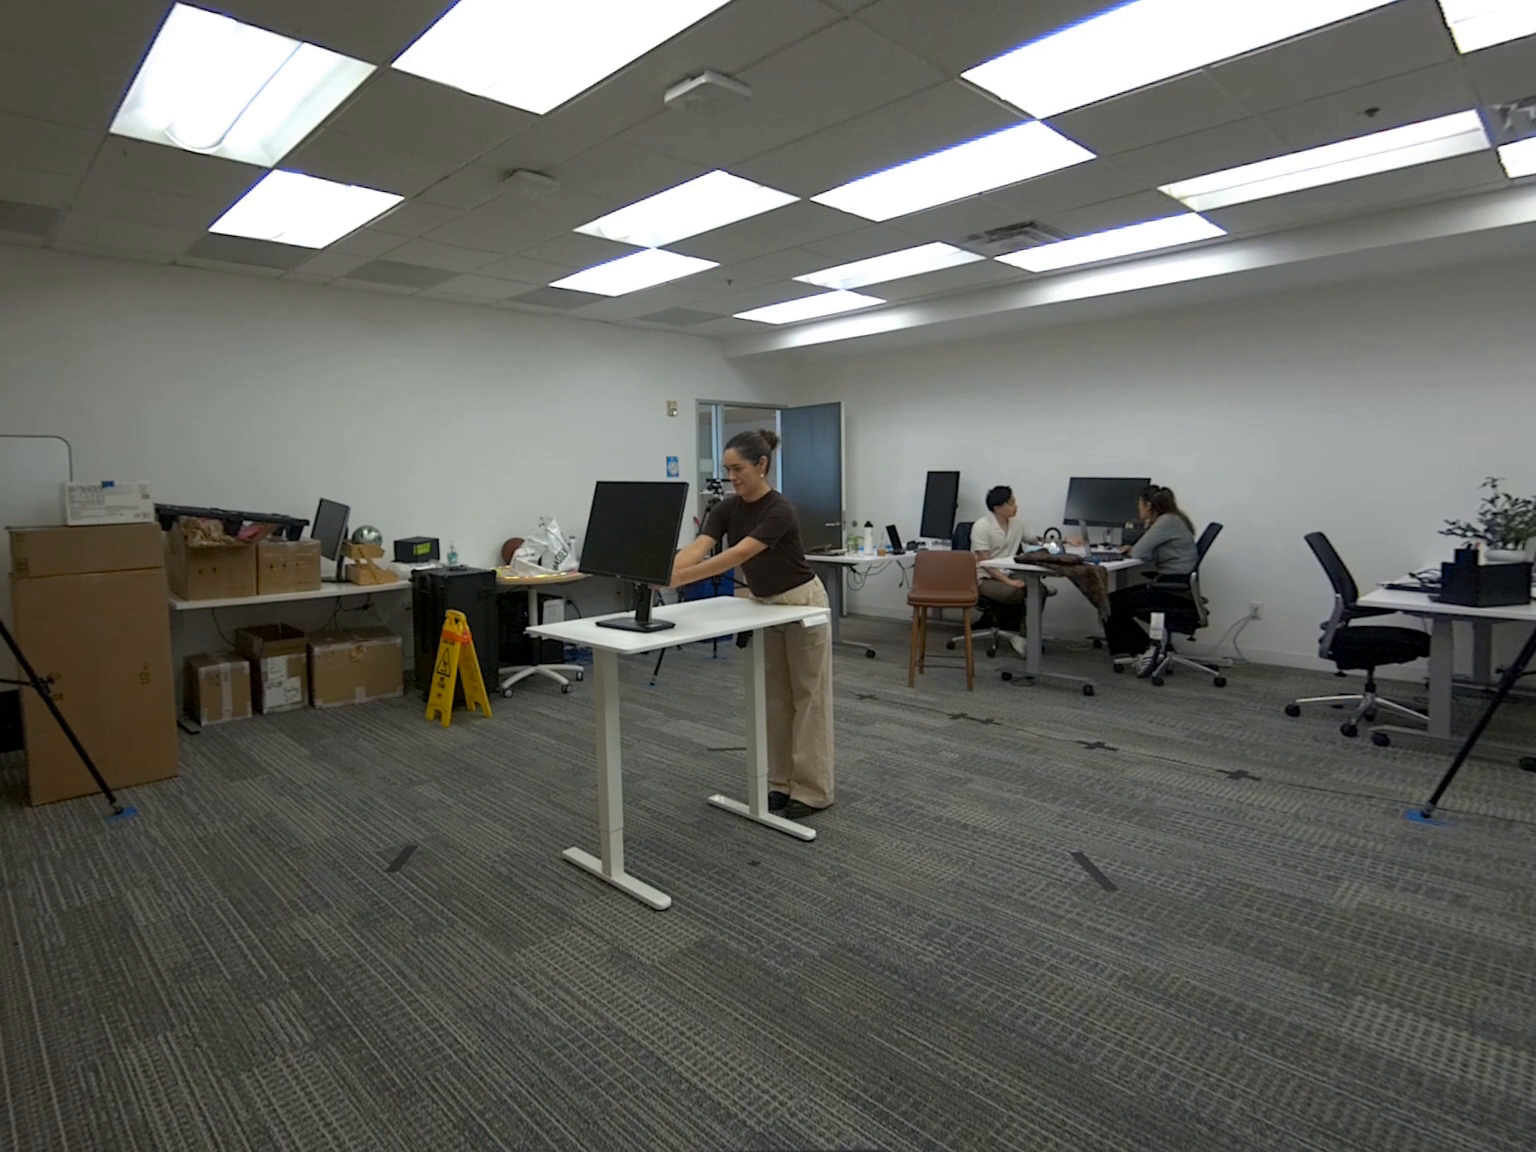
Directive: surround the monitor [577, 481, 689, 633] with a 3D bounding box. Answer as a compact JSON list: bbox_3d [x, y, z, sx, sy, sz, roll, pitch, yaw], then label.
[{"bbox_3d":[-0.464,-0.072,3.028,0.556,0.521,0.182,5,5,44],"label":"monitor"}]
